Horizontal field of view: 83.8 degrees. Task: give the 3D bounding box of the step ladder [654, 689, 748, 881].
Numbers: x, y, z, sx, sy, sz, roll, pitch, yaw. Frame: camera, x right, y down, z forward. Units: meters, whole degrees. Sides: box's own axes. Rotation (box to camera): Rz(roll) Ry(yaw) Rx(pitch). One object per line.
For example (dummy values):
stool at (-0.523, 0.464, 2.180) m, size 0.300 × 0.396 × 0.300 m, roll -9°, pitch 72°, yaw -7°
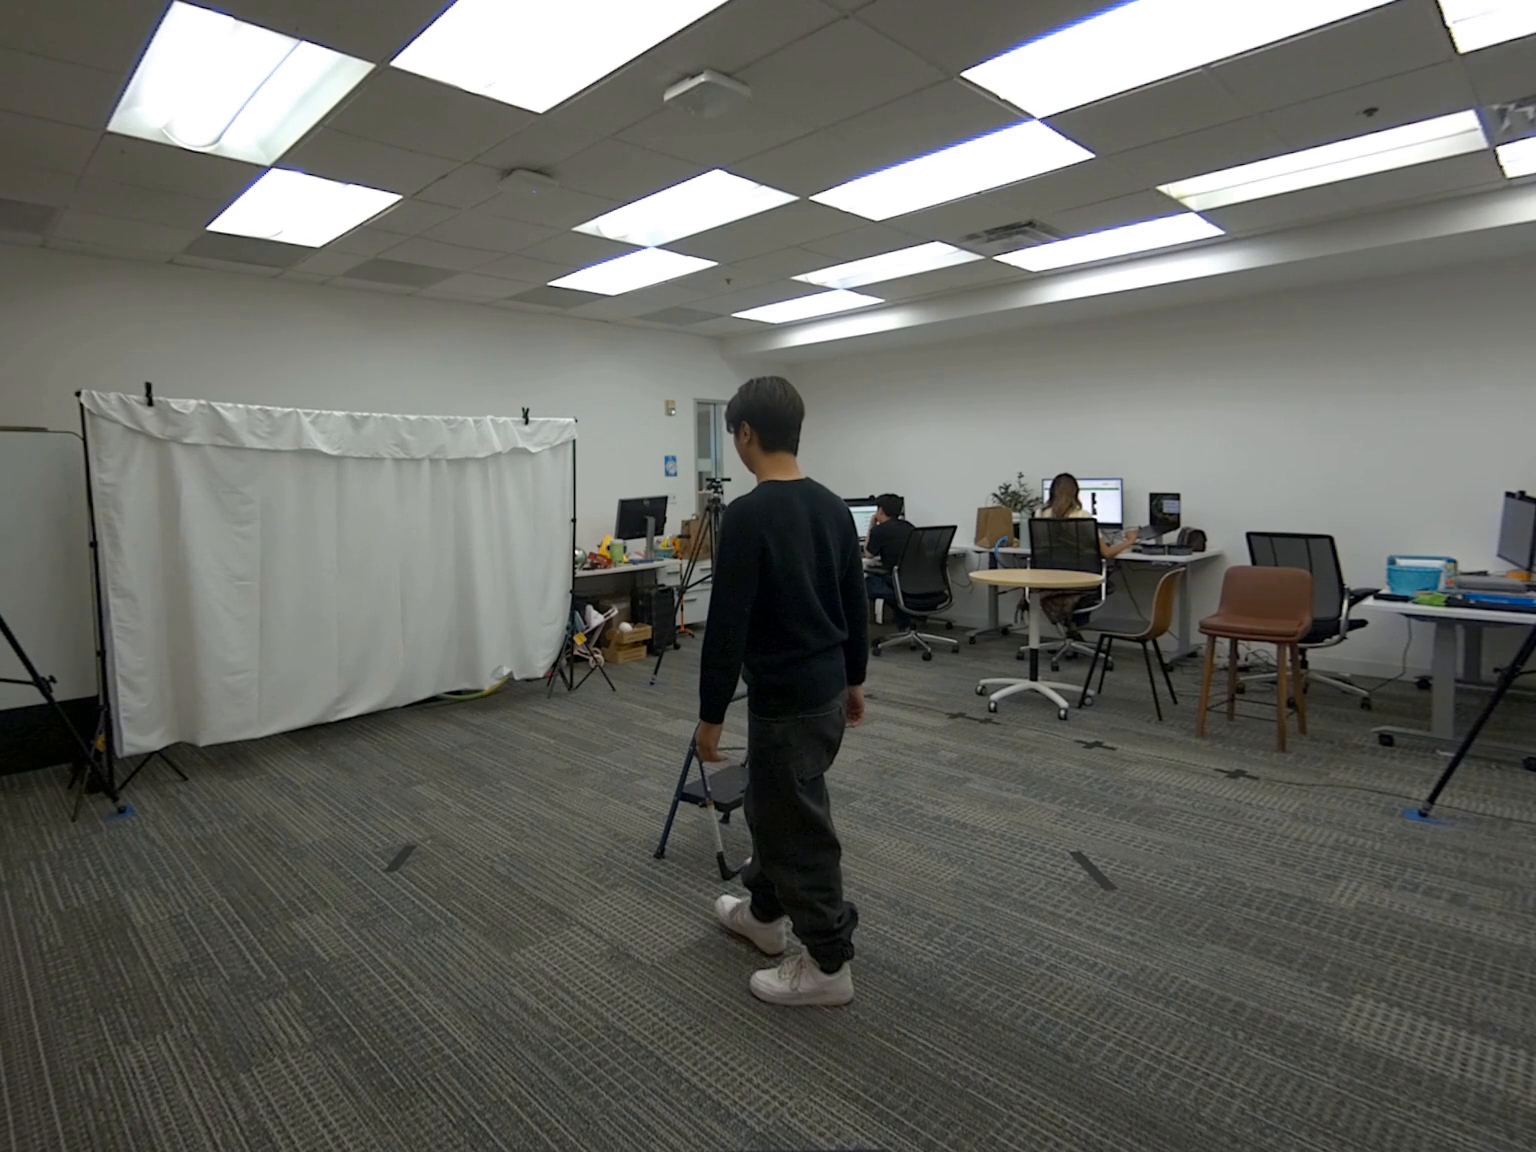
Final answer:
step ladder at (-0.171, 0.733, 3.212) m, size 0.359 × 0.604 × 0.420 m, roll 1°, pitch 4°, yaw 35°
